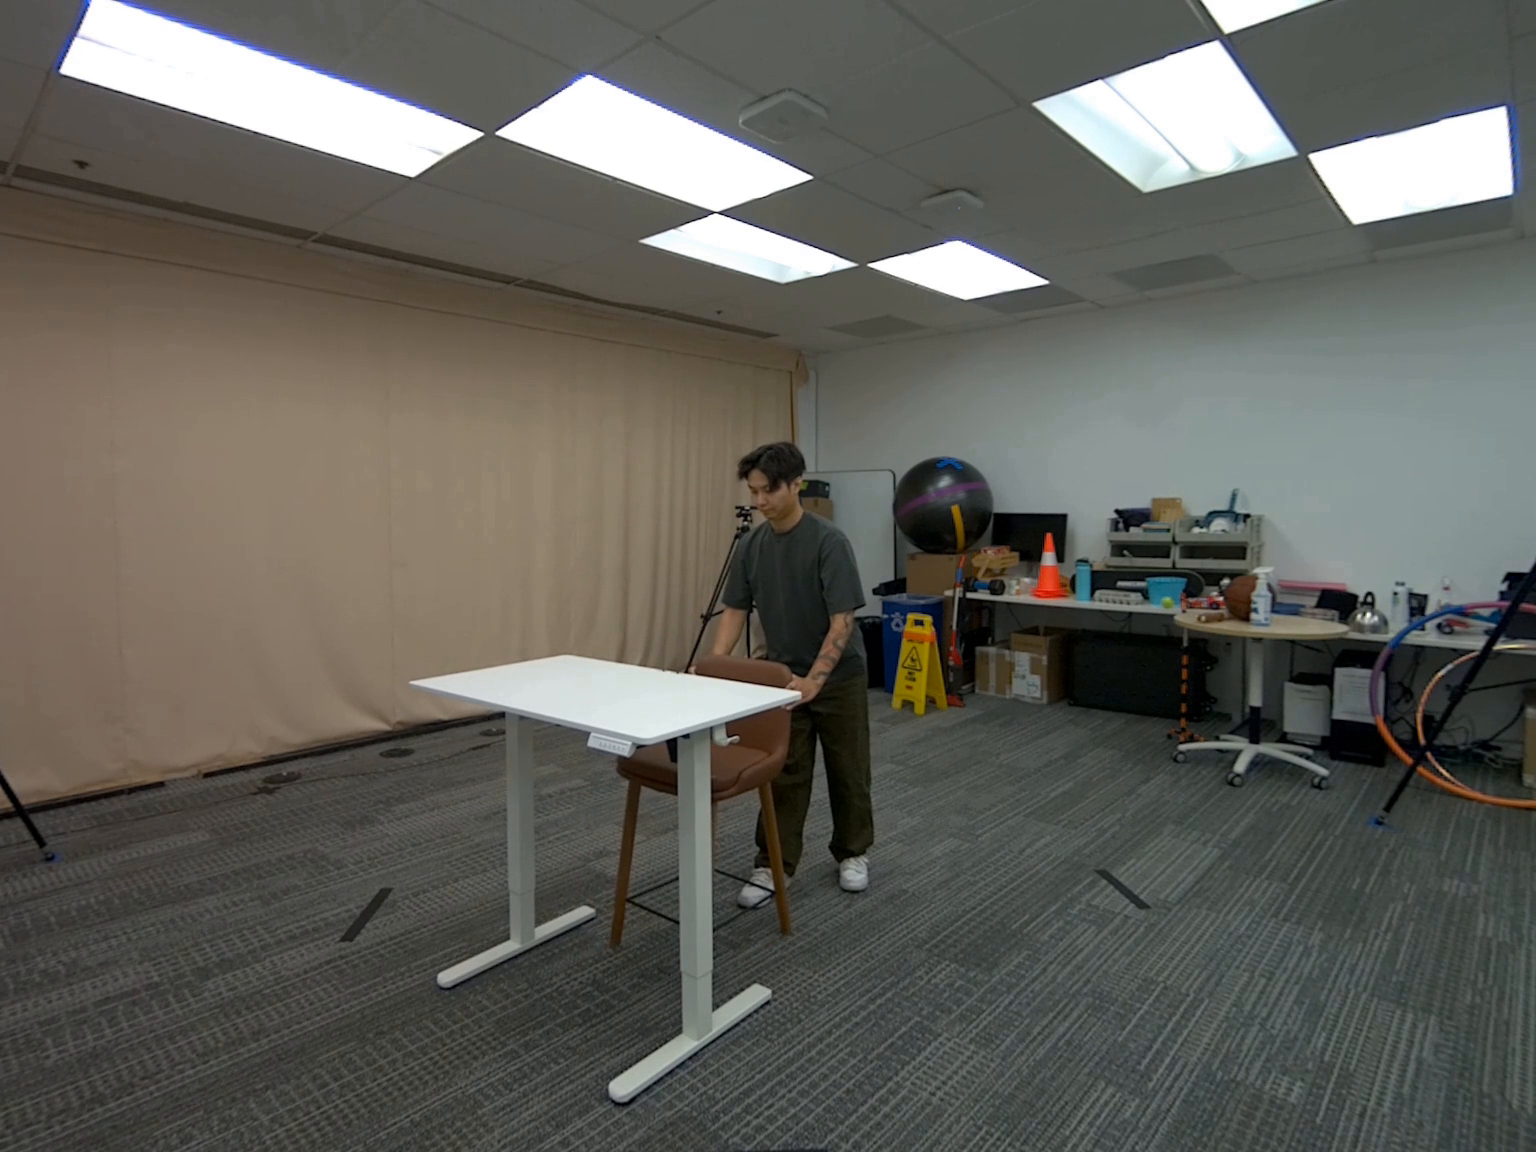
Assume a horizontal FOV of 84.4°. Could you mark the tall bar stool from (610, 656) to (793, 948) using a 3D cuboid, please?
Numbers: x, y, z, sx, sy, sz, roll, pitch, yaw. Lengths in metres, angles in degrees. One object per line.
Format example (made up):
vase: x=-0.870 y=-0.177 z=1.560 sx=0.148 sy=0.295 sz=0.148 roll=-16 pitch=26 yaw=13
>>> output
tall bar stool: x=-0.199 y=0.727 z=2.694 sx=0.471 sy=0.889 sz=0.452 roll=2 pitch=0 yaw=41
